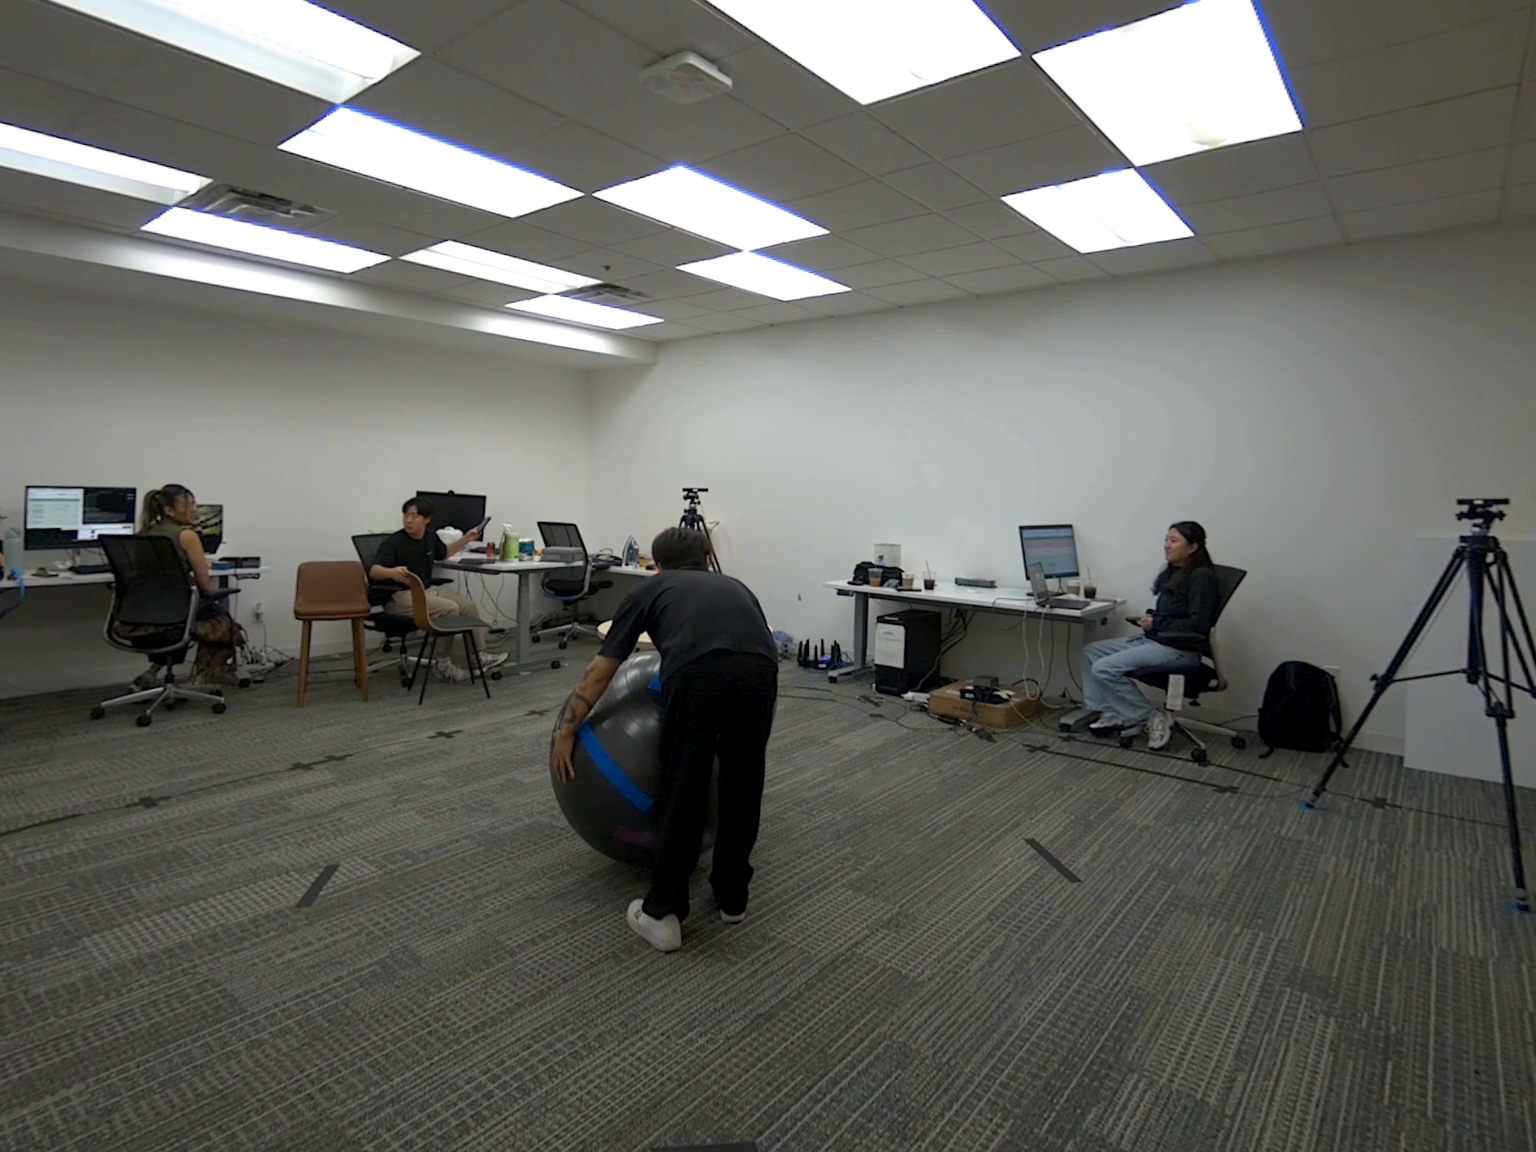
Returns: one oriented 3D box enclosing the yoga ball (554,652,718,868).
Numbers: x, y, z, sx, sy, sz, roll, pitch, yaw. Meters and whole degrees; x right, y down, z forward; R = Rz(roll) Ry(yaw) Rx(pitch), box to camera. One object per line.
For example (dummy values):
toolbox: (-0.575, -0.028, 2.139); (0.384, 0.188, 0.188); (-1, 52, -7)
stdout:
yoga ball: (-0.428, 0.667, 3.116); (0.757, 0.755, 0.762); (1, 4, -2)
